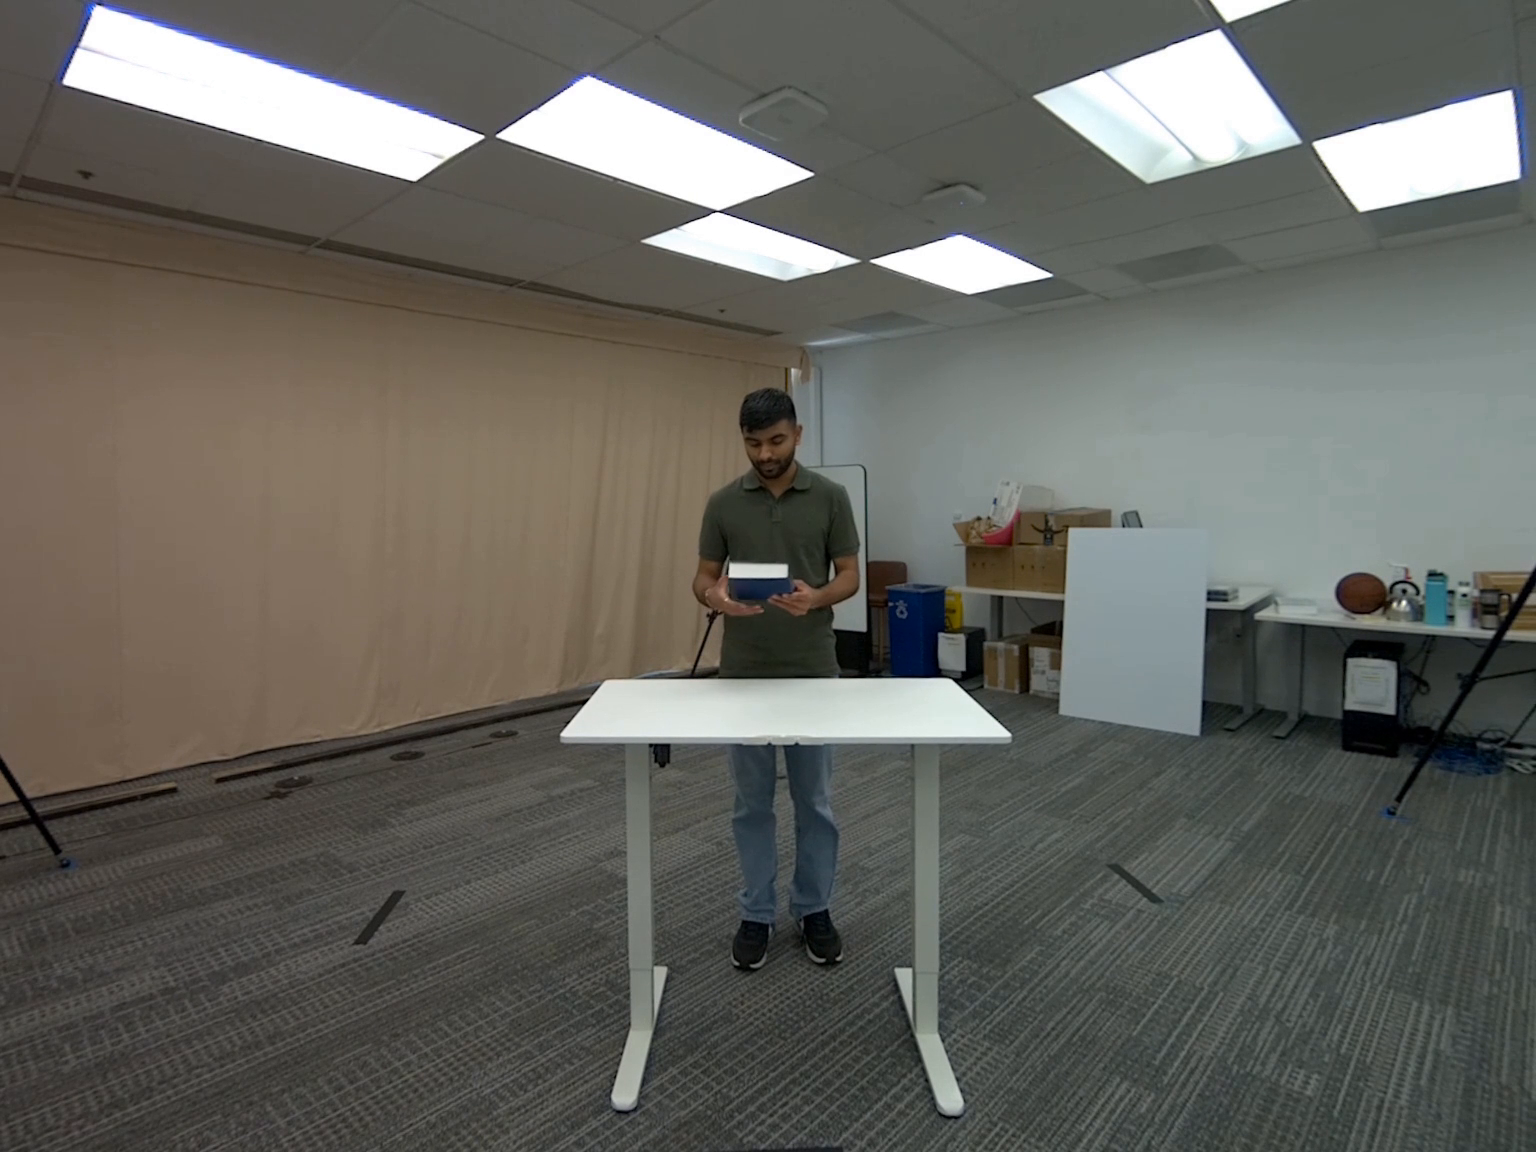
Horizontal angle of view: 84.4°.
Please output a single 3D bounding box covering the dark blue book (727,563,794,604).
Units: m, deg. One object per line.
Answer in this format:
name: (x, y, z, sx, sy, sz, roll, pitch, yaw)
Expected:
dark blue book: (-0.026, 0.016, 2.304, 0.164, 0.045, 0.242, 2, -15, 3)
